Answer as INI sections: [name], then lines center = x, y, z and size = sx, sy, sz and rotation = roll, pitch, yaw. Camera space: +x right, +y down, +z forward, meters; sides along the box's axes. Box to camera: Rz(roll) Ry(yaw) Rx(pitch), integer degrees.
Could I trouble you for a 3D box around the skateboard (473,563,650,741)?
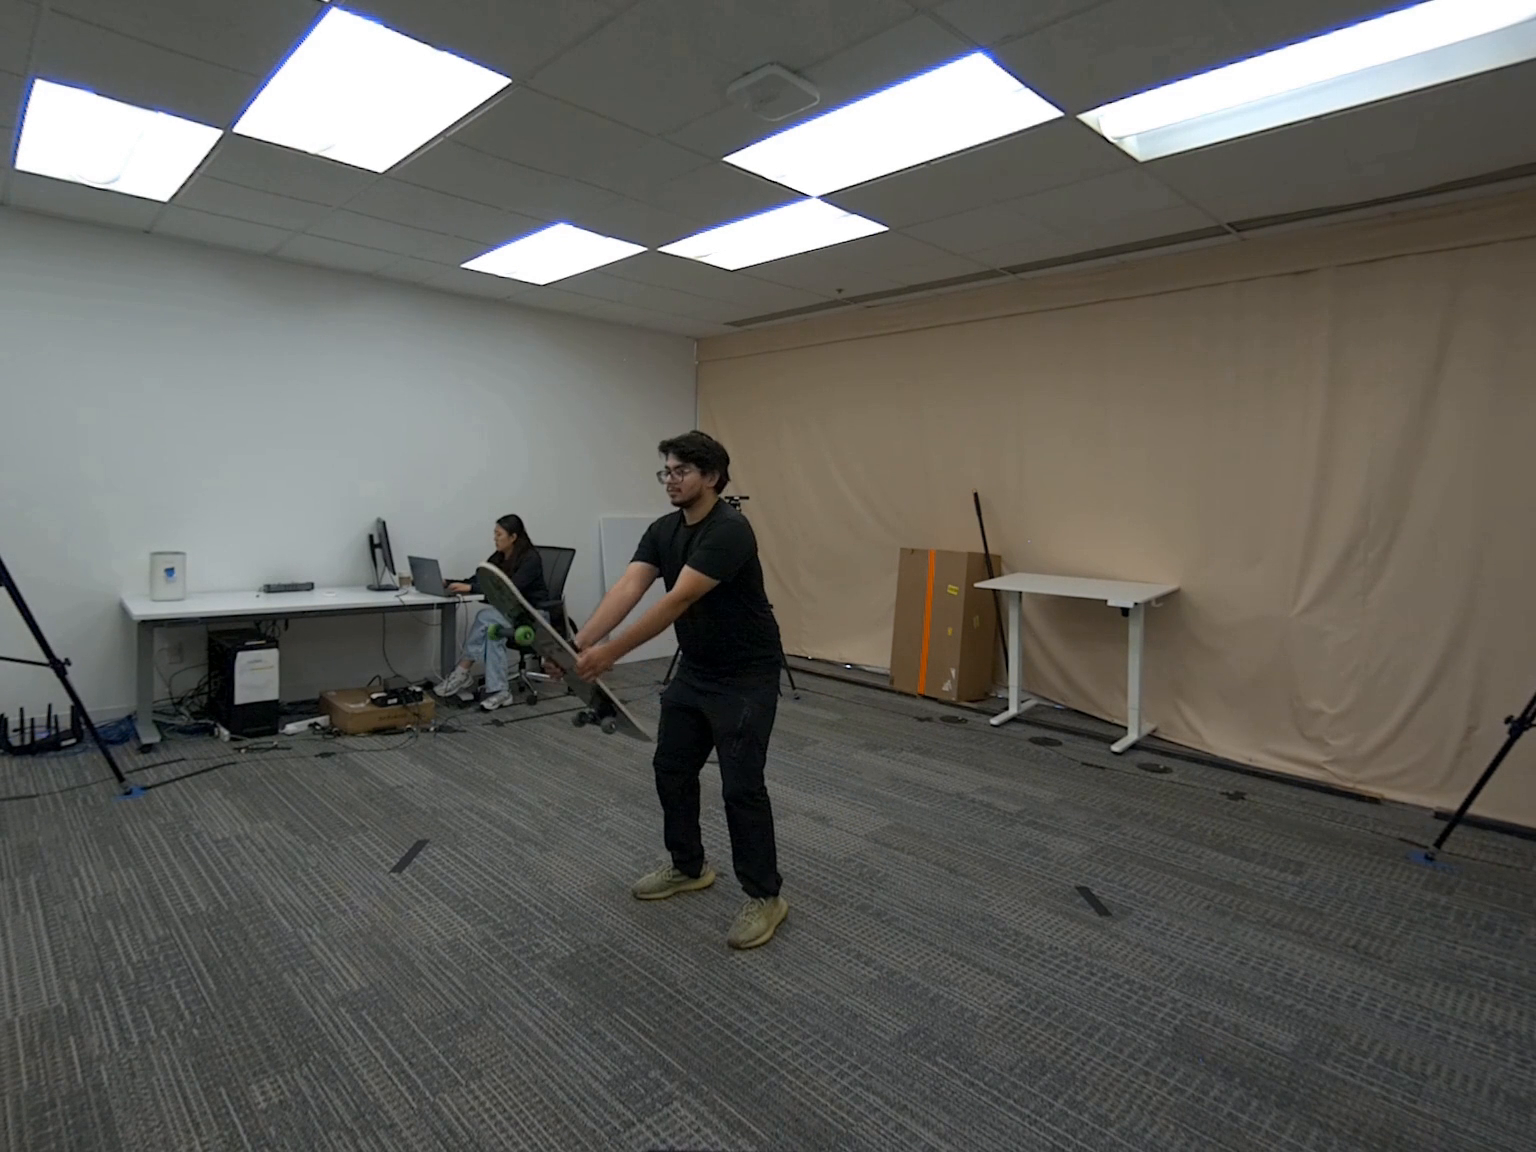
[skateboard]
center = -0.603, 0.283, 2.445
size = 0.198, 0.765, 0.111
rotation = -1, 43, 44
